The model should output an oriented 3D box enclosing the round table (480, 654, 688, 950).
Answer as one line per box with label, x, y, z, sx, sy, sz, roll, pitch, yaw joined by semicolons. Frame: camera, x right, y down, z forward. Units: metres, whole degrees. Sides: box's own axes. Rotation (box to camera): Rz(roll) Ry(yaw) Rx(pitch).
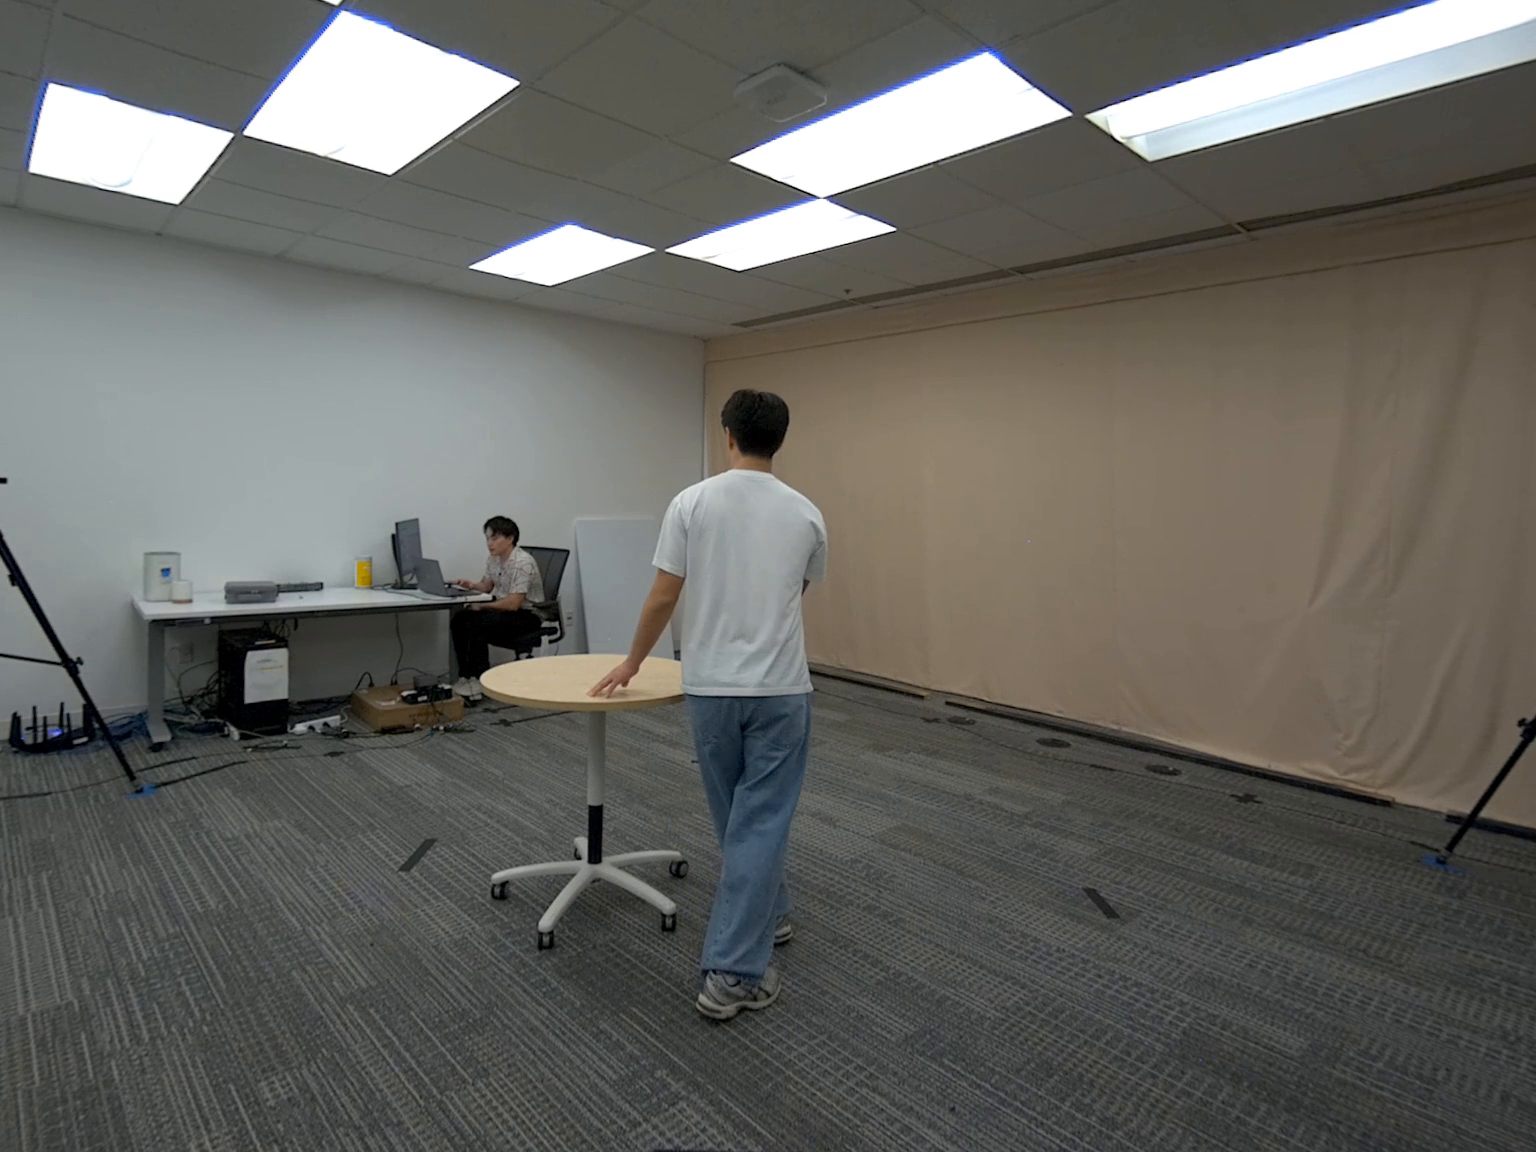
round table;-0.583;0.728;2.871;0.763;0.792;0.767;1;4;-1
